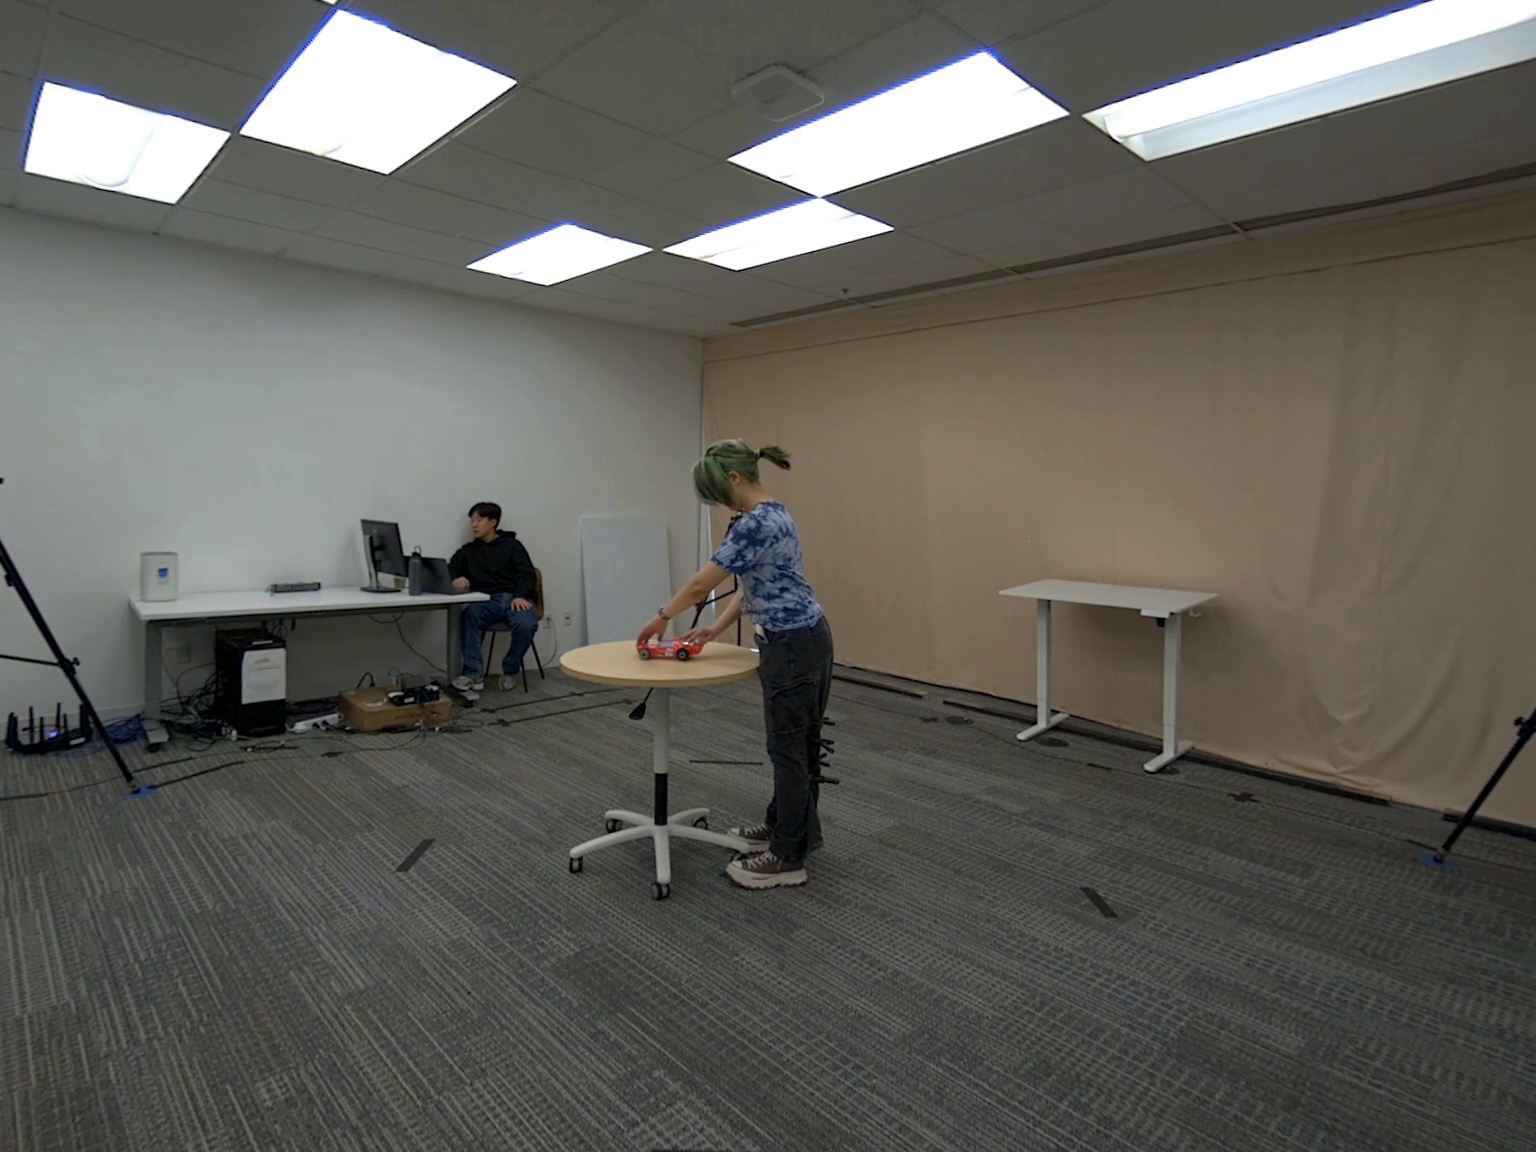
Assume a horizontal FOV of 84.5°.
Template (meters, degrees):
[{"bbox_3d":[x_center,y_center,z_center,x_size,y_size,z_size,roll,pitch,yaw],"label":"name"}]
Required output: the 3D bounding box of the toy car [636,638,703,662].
[{"bbox_3d":[-0.363,0.278,3.170,0.256,0.083,0.130,-11,5,8],"label":"toy car"}]
